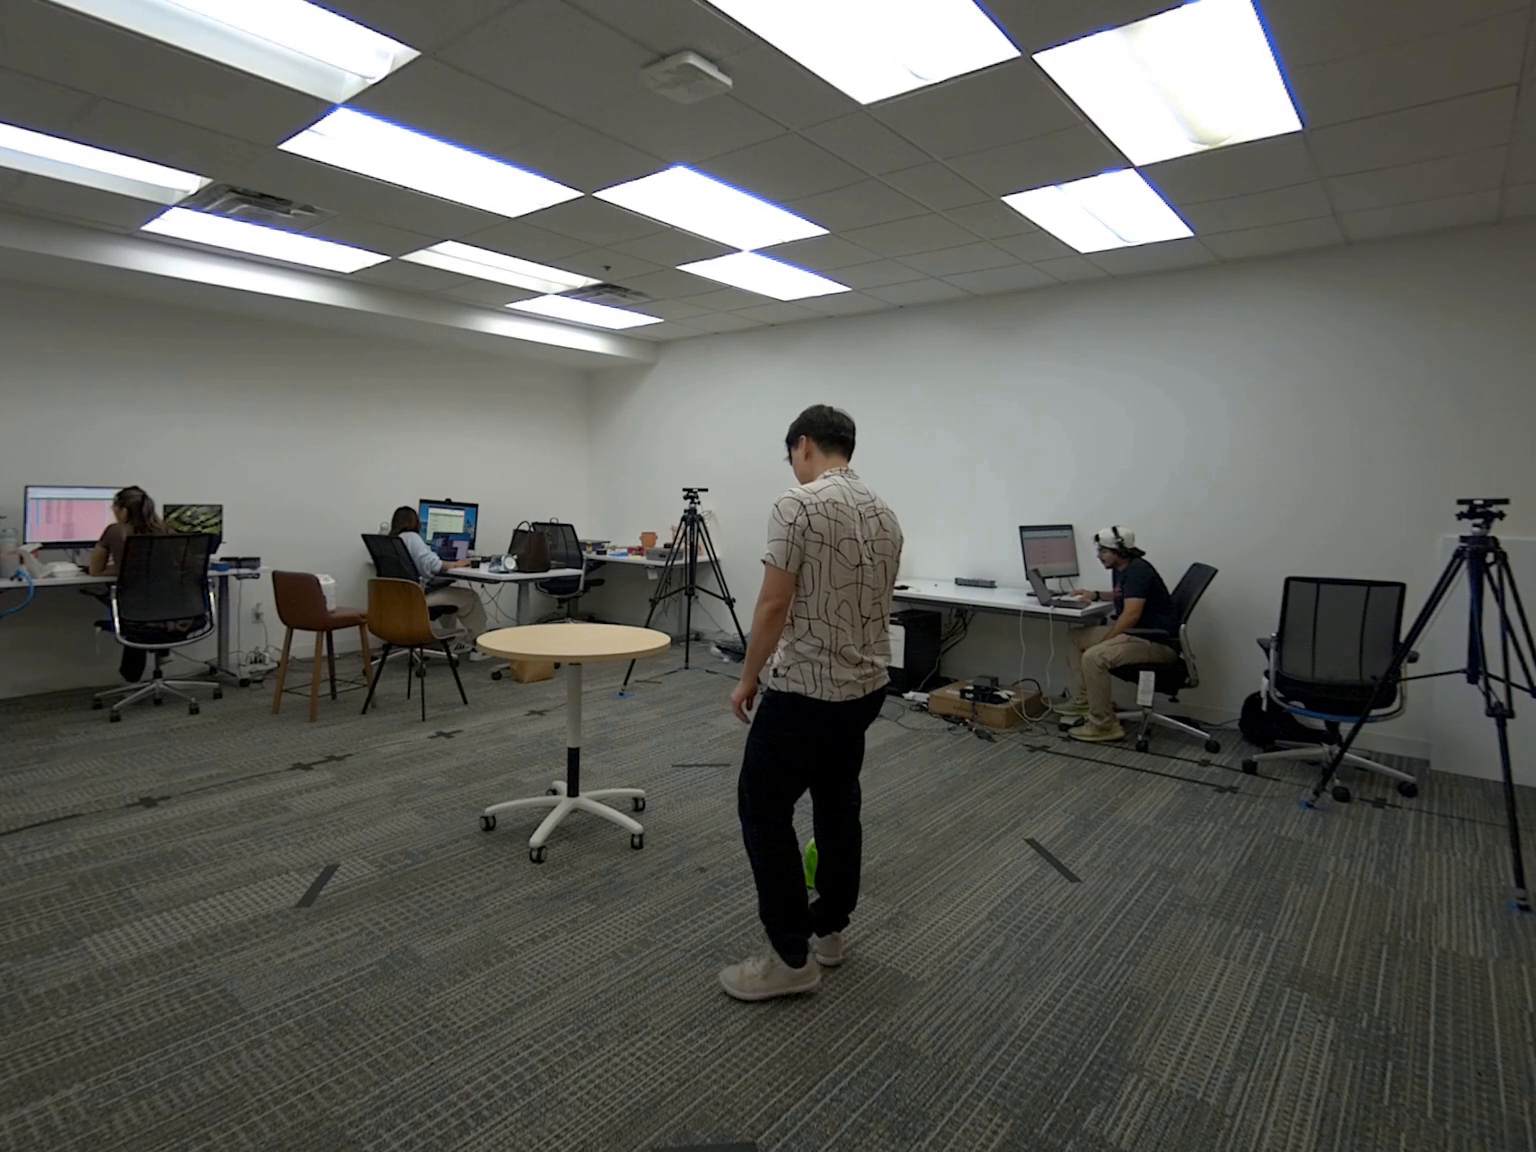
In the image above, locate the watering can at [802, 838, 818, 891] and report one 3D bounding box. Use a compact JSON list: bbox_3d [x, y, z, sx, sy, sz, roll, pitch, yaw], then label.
[{"bbox_3d":[0.213,0.992,3.044,0.270,0.176,0.101,-4,7,-42],"label":"watering can"}]
